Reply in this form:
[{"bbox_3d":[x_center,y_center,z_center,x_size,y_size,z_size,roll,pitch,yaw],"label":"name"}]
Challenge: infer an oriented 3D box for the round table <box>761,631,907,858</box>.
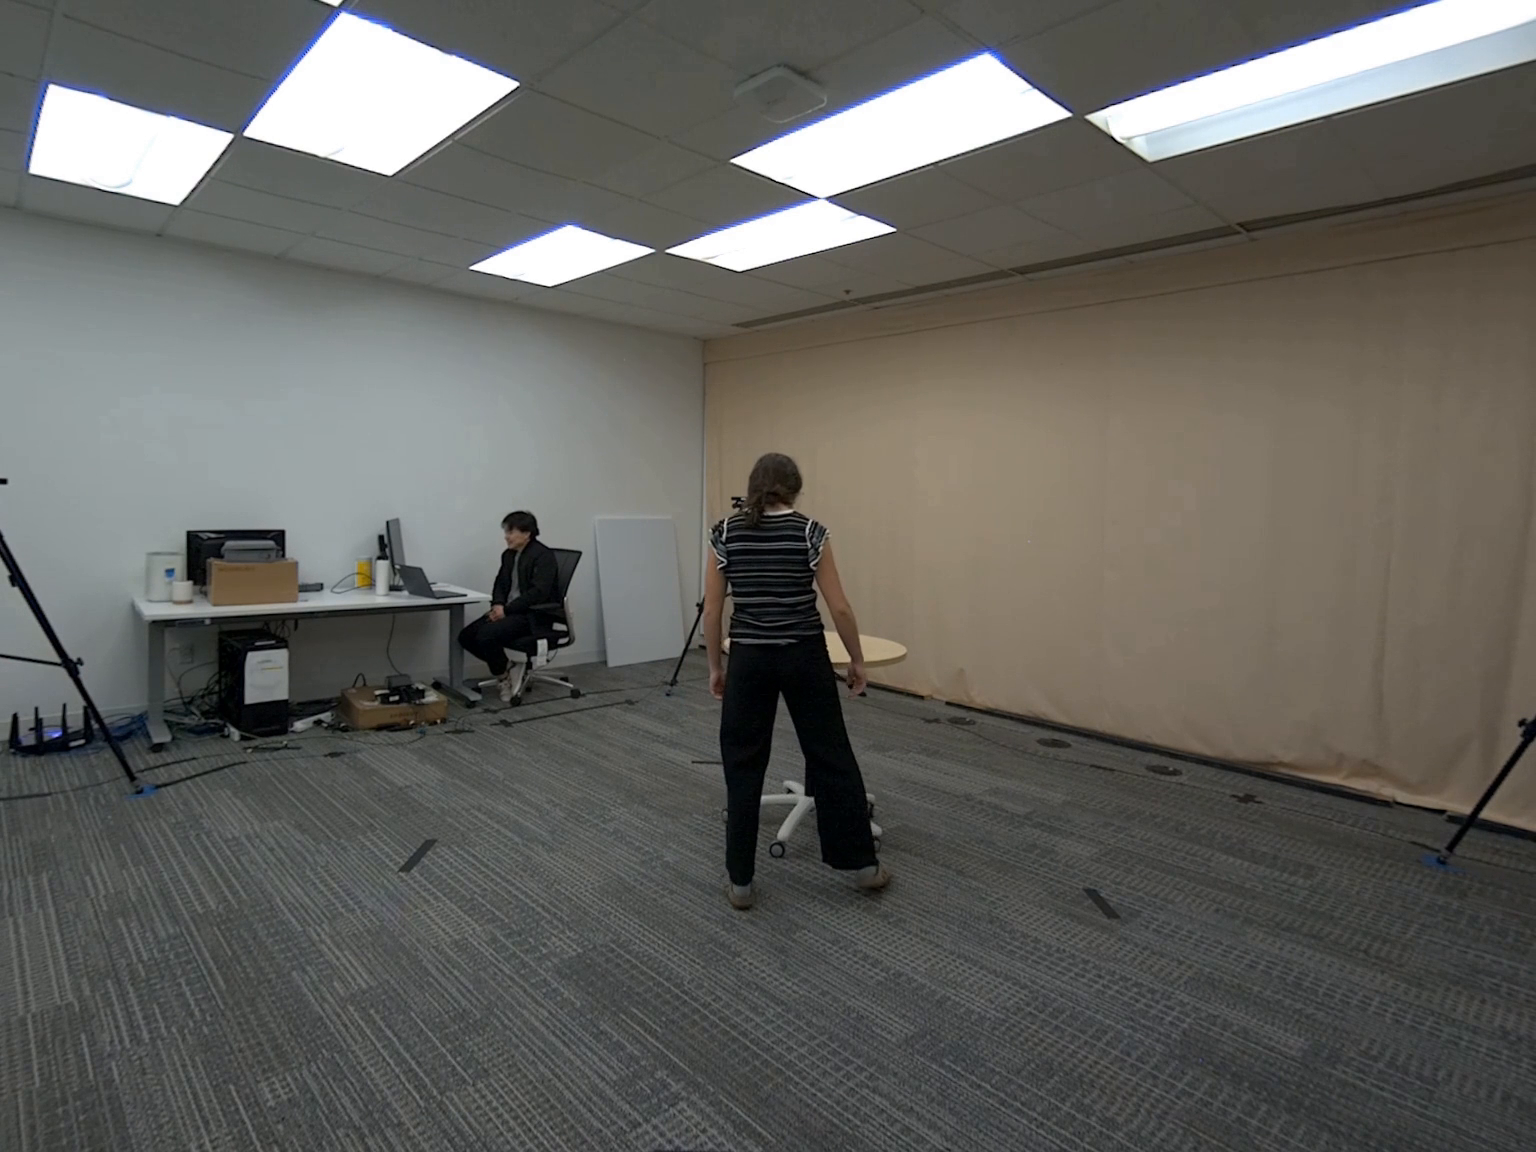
[{"bbox_3d":[0.180,0.680,3.583,0.784,0.784,0.788,2,4,-1],"label":"round table"}]
